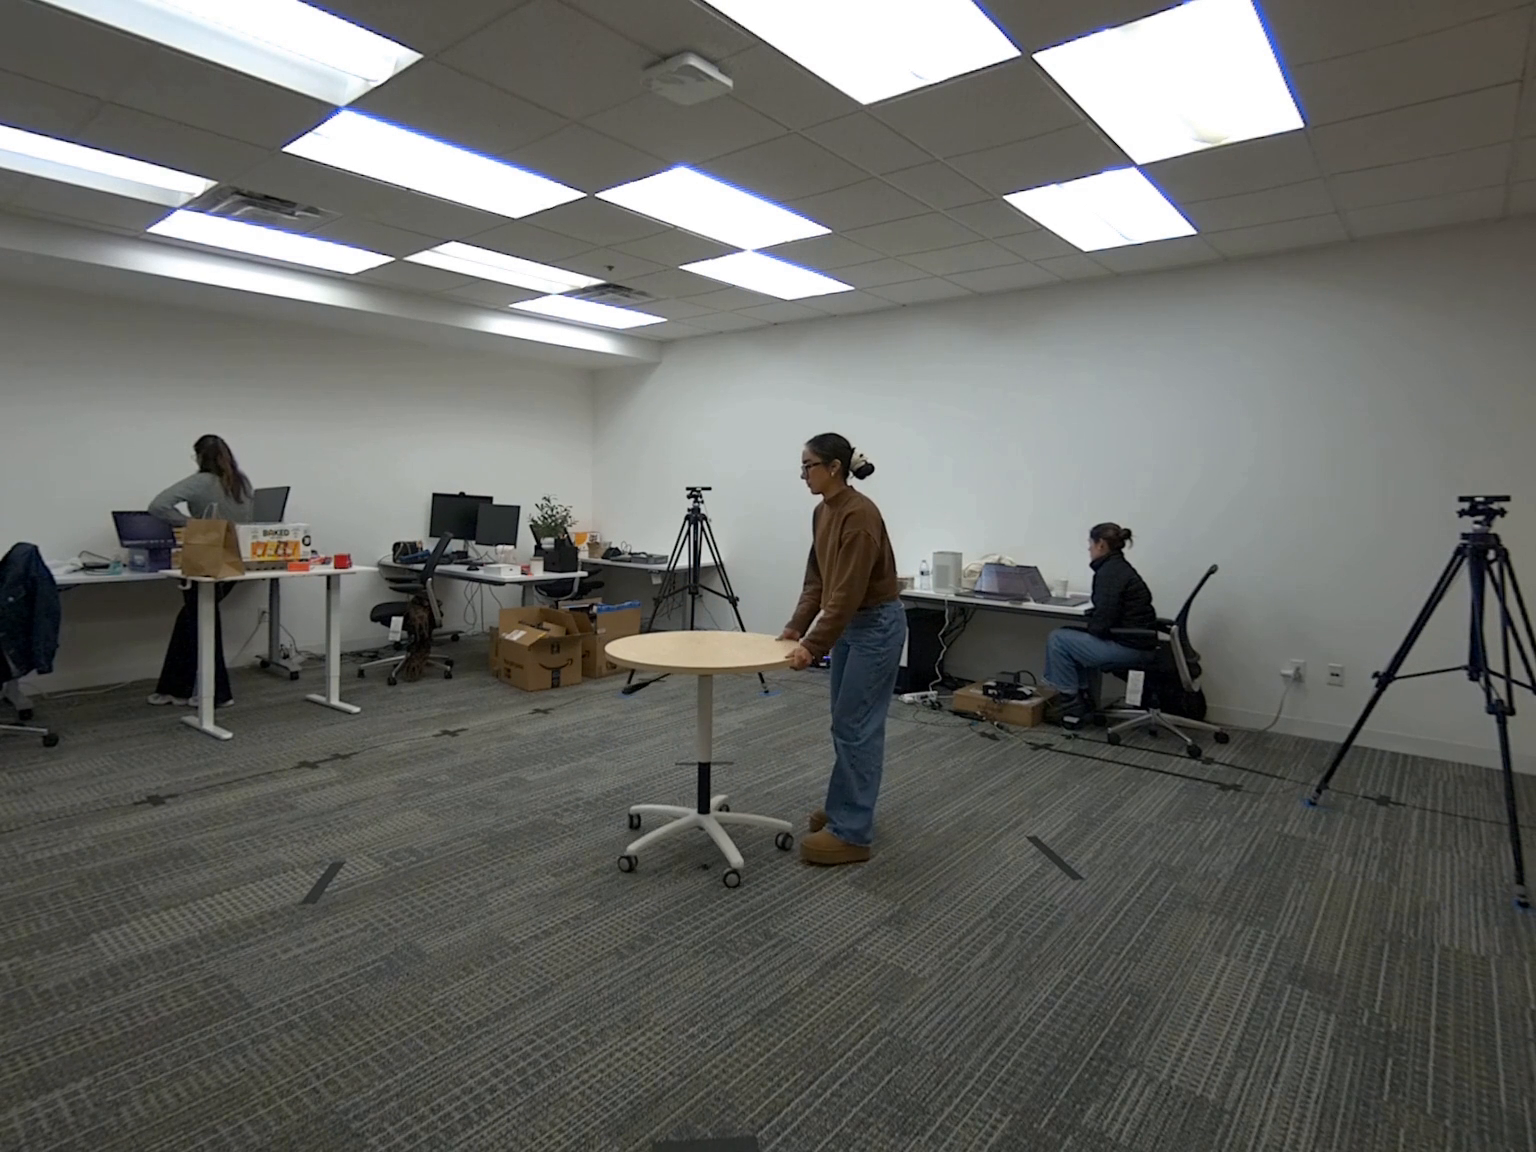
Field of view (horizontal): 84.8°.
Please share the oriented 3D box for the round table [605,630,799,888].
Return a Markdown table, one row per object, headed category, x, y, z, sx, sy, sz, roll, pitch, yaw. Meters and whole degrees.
| category | x | y | z | sx | sy | sz | roll | pitch | yaw |
| --- | --- | --- | --- | --- | --- | --- | --- | --- | --- |
| round table | -0.274 | 0.656 | 3.253 | 0.784 | 0.784 | 0.789 | 1 | 4 | -2 |
